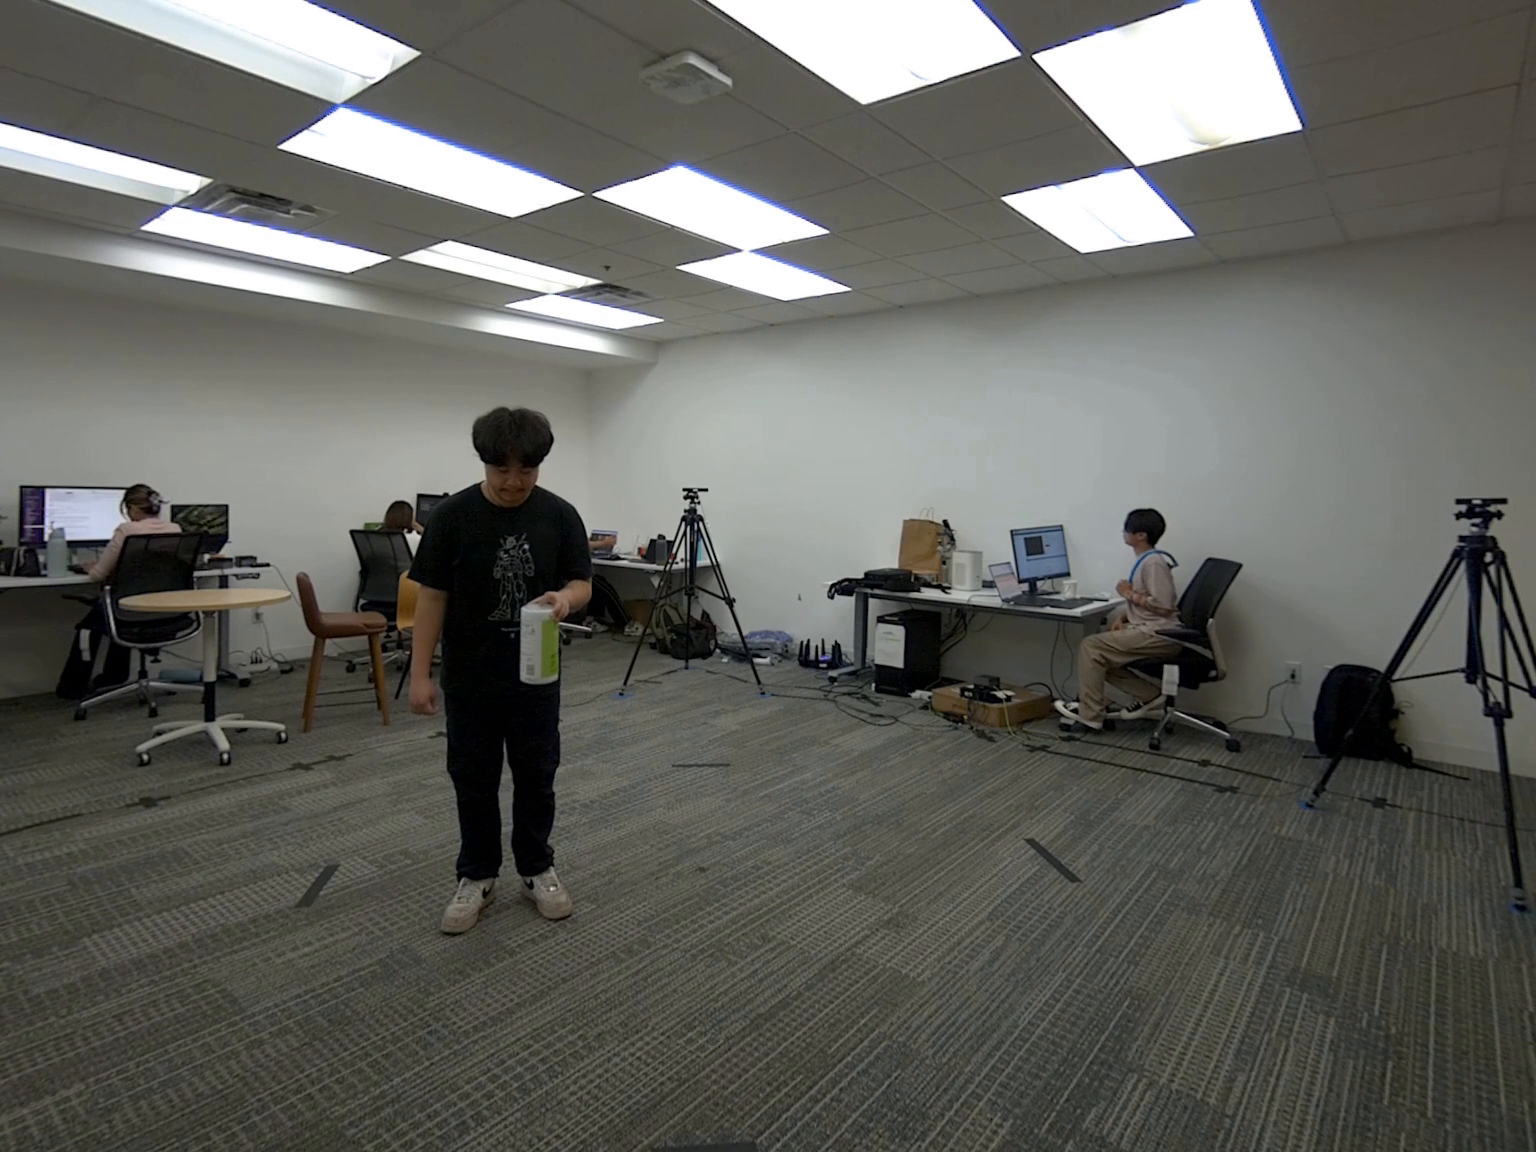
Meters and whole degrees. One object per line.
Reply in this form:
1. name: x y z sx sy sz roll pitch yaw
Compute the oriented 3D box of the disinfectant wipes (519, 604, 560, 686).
1. disinfectant wipes: -0.672 0.196 2.468 0.117 0.216 0.119 2 7 -2
